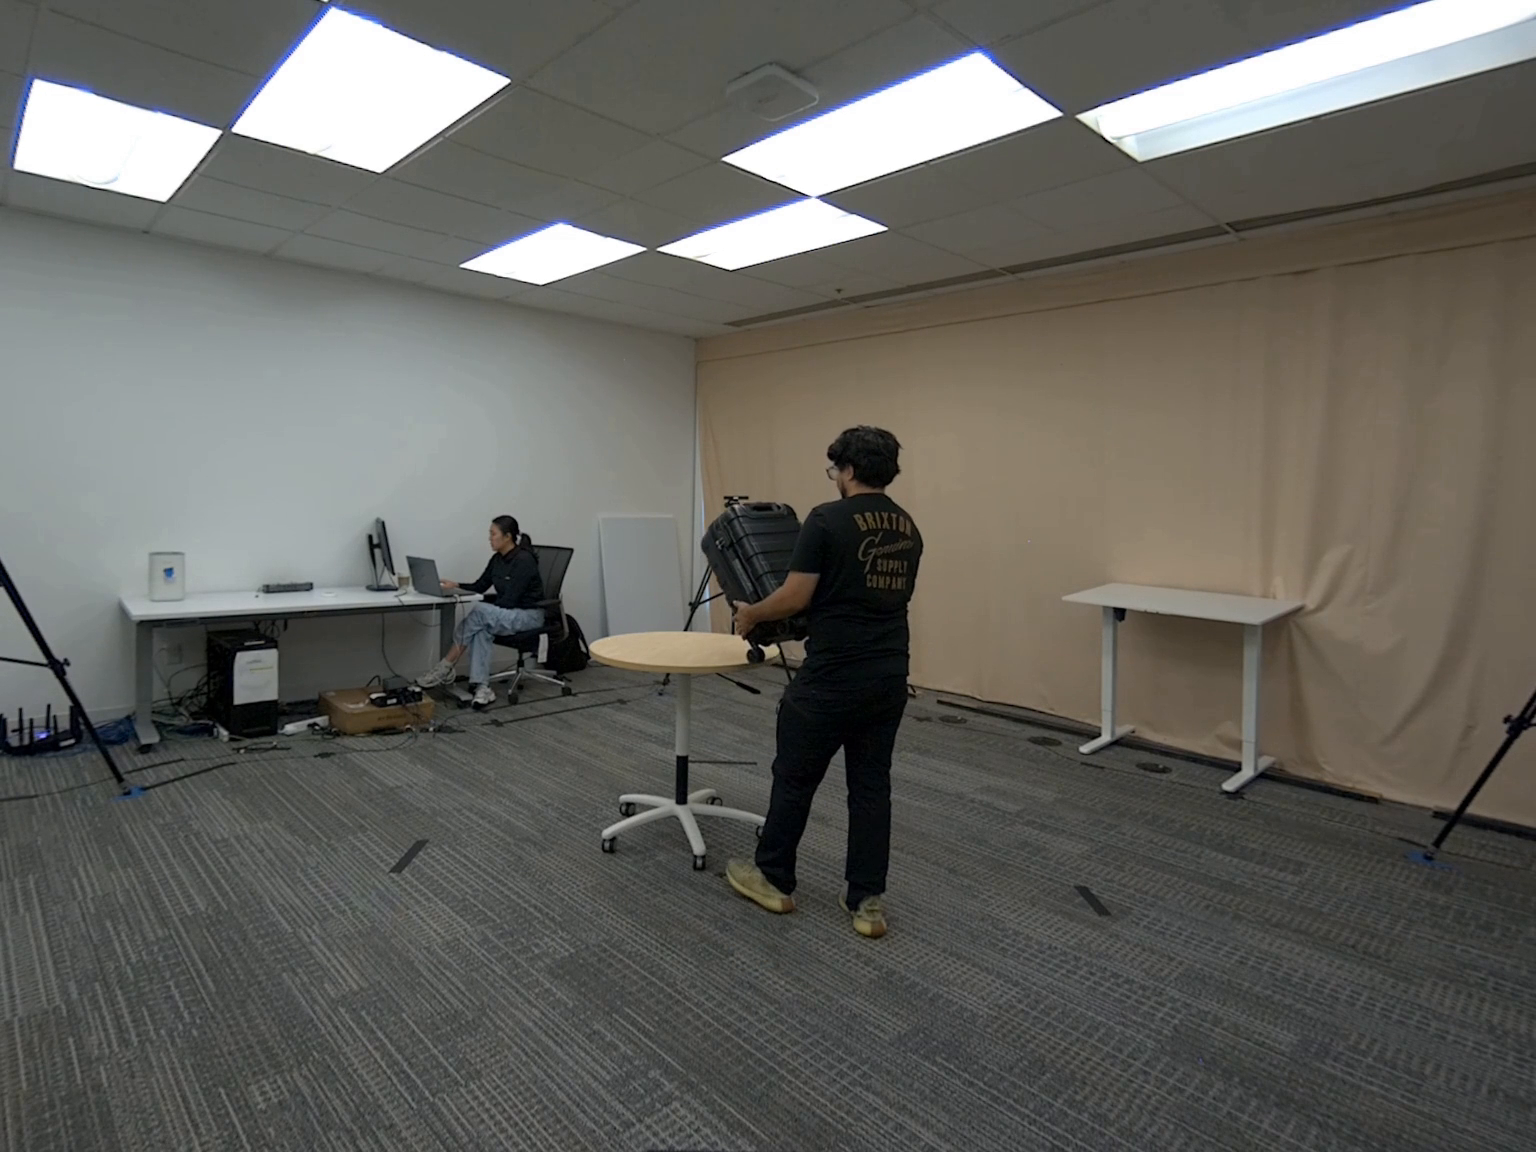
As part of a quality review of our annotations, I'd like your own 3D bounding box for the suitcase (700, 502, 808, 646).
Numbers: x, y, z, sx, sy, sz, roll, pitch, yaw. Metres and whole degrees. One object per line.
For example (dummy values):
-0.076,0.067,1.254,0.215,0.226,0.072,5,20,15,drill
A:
0.006,-0.002,3.090,0.367,0.562,0.247,-6,-33,-39,suitcase
